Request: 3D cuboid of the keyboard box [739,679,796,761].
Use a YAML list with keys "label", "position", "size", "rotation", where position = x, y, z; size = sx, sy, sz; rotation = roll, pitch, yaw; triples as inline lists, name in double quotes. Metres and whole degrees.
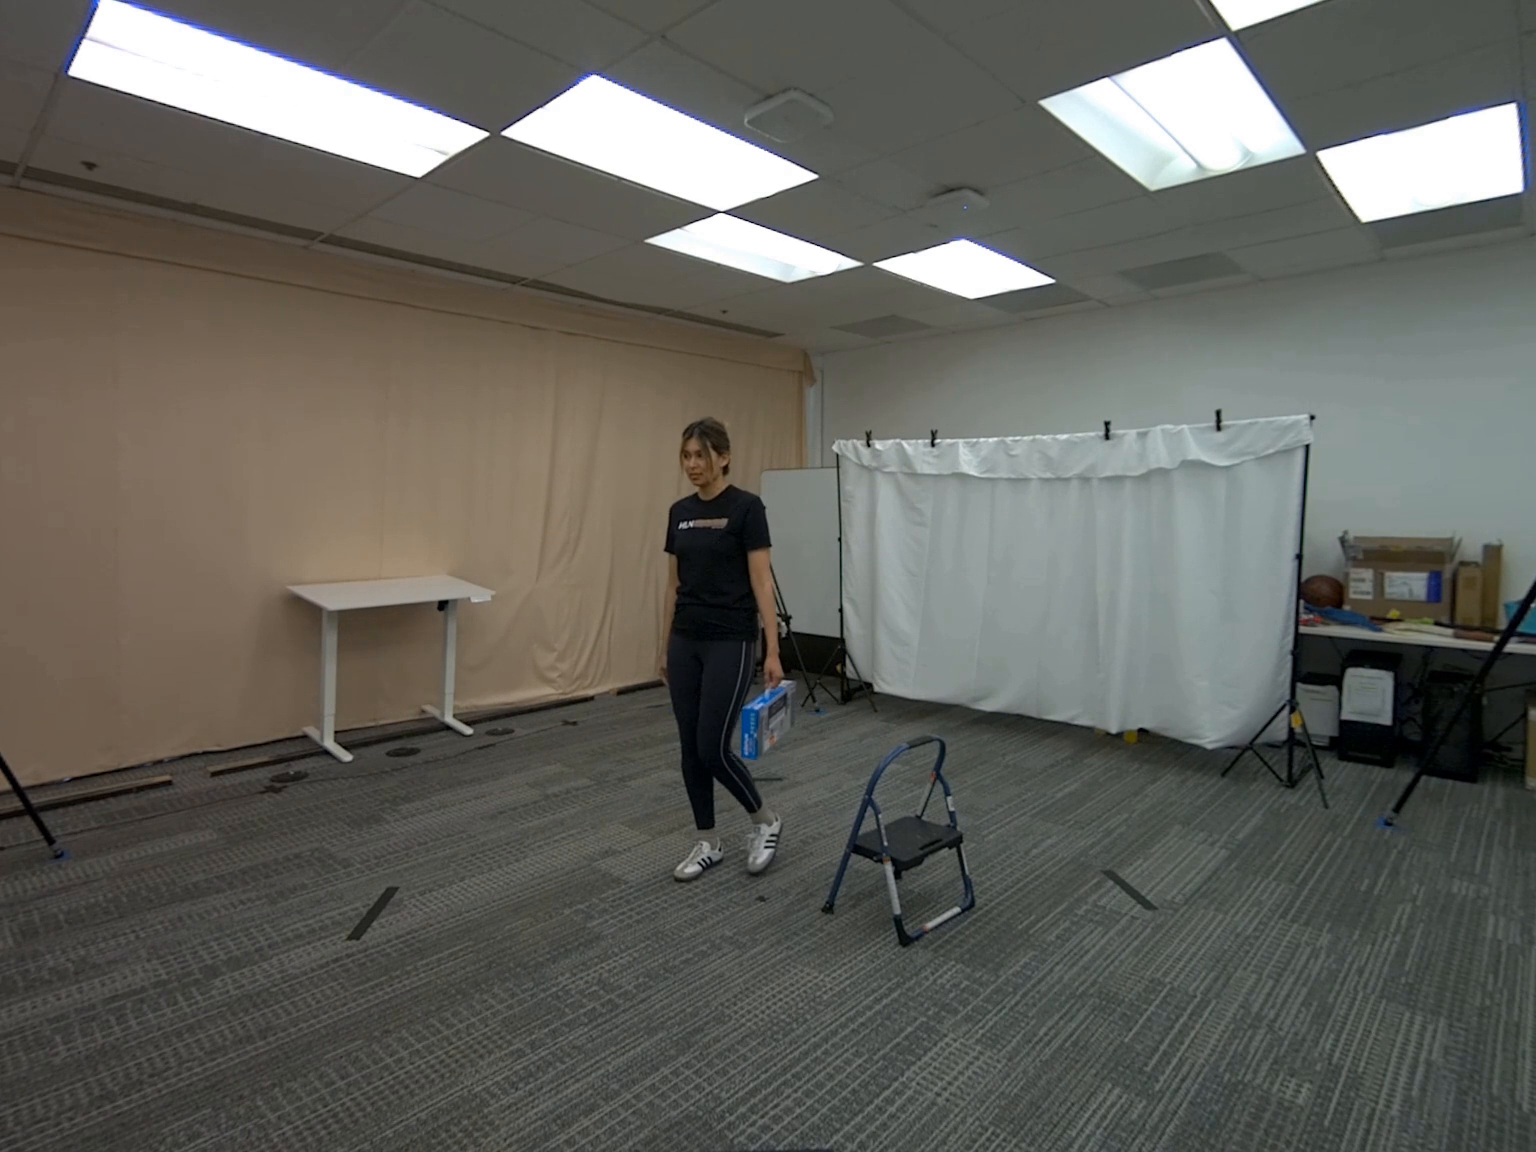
- label: "keyboard box"
  position: [0.009, 0.503, 3.012]
  size: [0.060, 0.175, 0.430]
  rotation: [5, 8, 16]
